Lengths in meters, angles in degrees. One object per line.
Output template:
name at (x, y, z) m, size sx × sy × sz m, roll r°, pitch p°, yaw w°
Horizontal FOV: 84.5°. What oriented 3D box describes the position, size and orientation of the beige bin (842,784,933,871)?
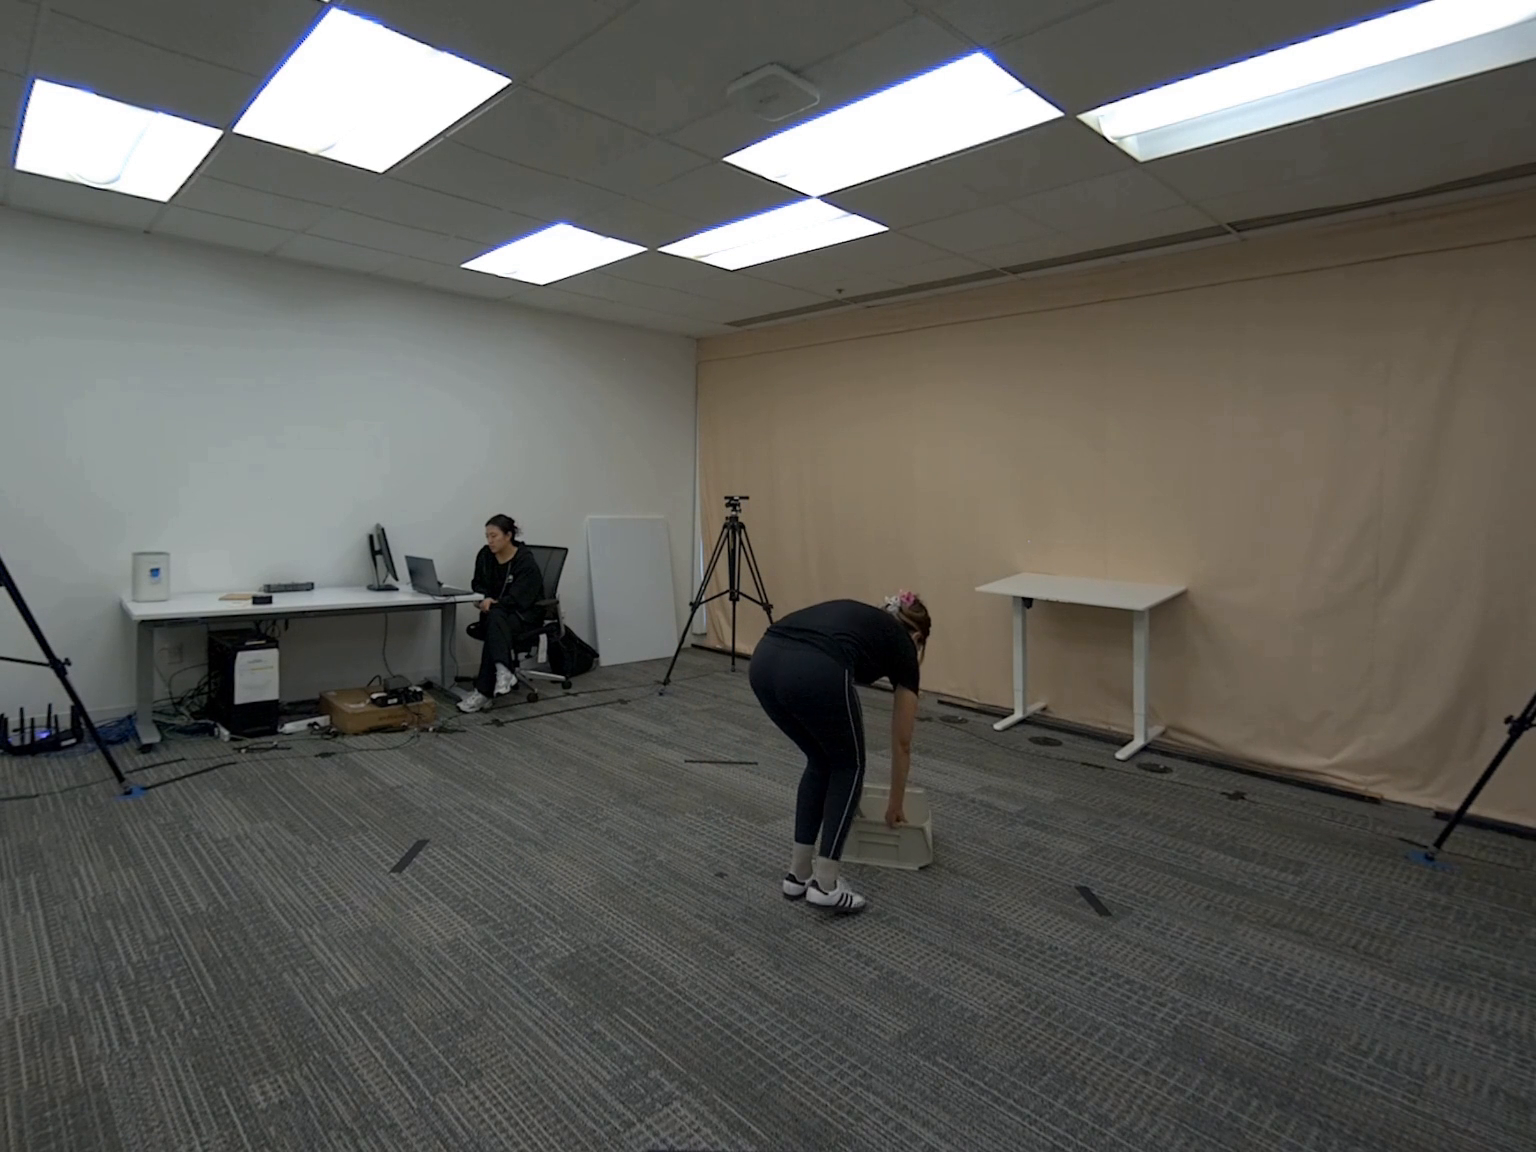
beige bin at (0.461, 0.997, 3.408) m, size 0.381 × 0.188 × 0.419 m, roll 1°, pitch 5°, yaw 11°
